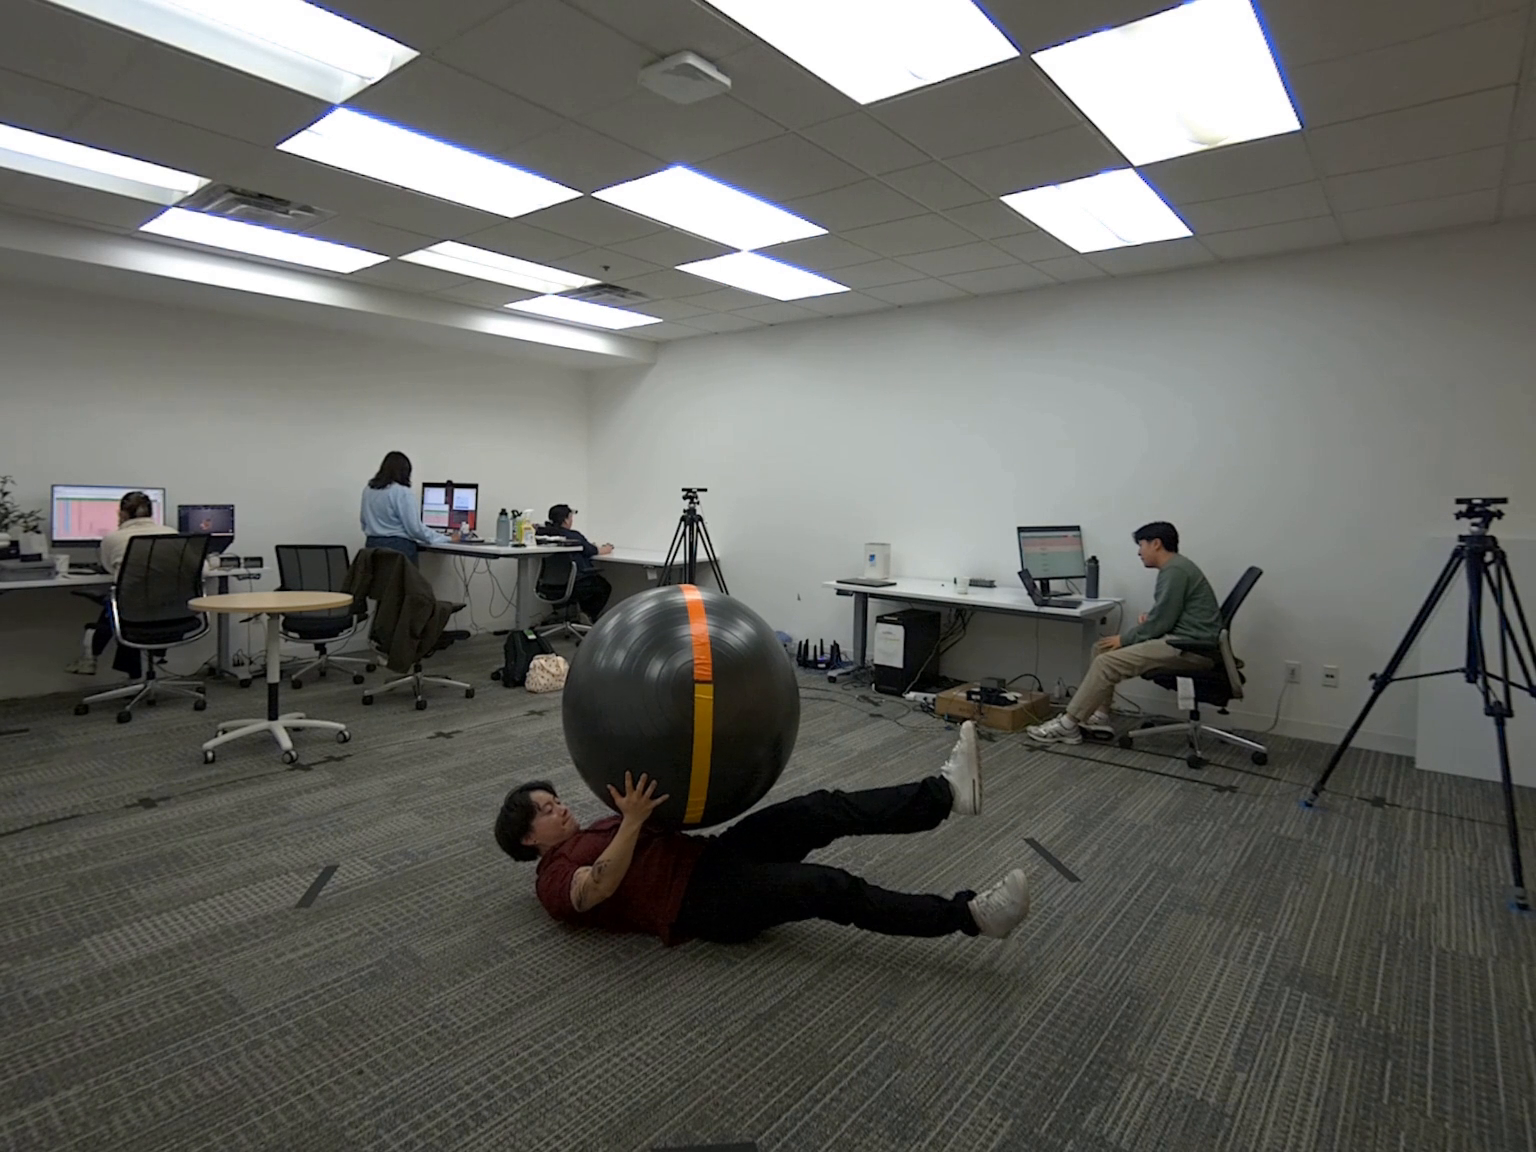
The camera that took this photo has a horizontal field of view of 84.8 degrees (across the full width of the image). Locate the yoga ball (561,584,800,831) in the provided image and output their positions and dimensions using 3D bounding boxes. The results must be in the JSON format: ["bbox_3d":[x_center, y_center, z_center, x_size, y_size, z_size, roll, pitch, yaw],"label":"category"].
[{"bbox_3d":[-0.282,0.411,2.712,0.757,0.755,0.762,1,4,-2],"label":"yoga ball"}]
